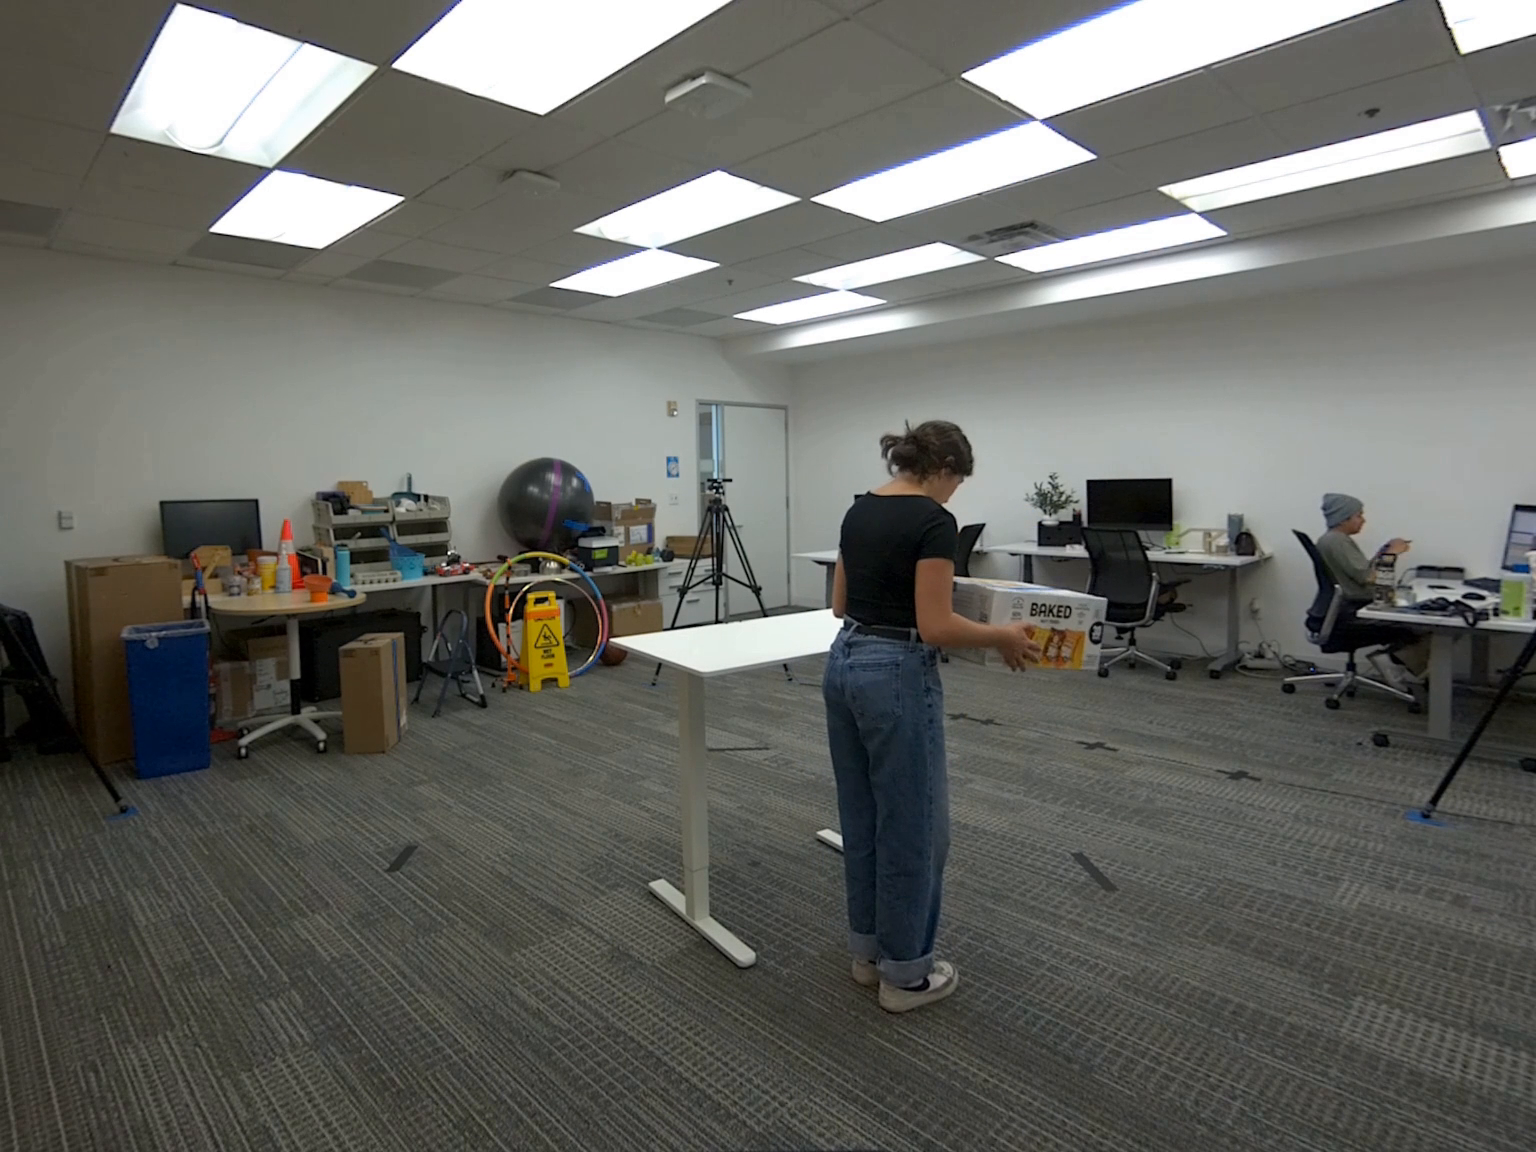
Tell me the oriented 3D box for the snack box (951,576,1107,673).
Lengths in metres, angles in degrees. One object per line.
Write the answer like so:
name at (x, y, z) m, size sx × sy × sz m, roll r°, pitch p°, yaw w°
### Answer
snack box at (0.683, 0.128, 2.434) m, size 0.395 × 0.205 × 0.349 m, roll 4°, pitch 5°, yaw -26°
